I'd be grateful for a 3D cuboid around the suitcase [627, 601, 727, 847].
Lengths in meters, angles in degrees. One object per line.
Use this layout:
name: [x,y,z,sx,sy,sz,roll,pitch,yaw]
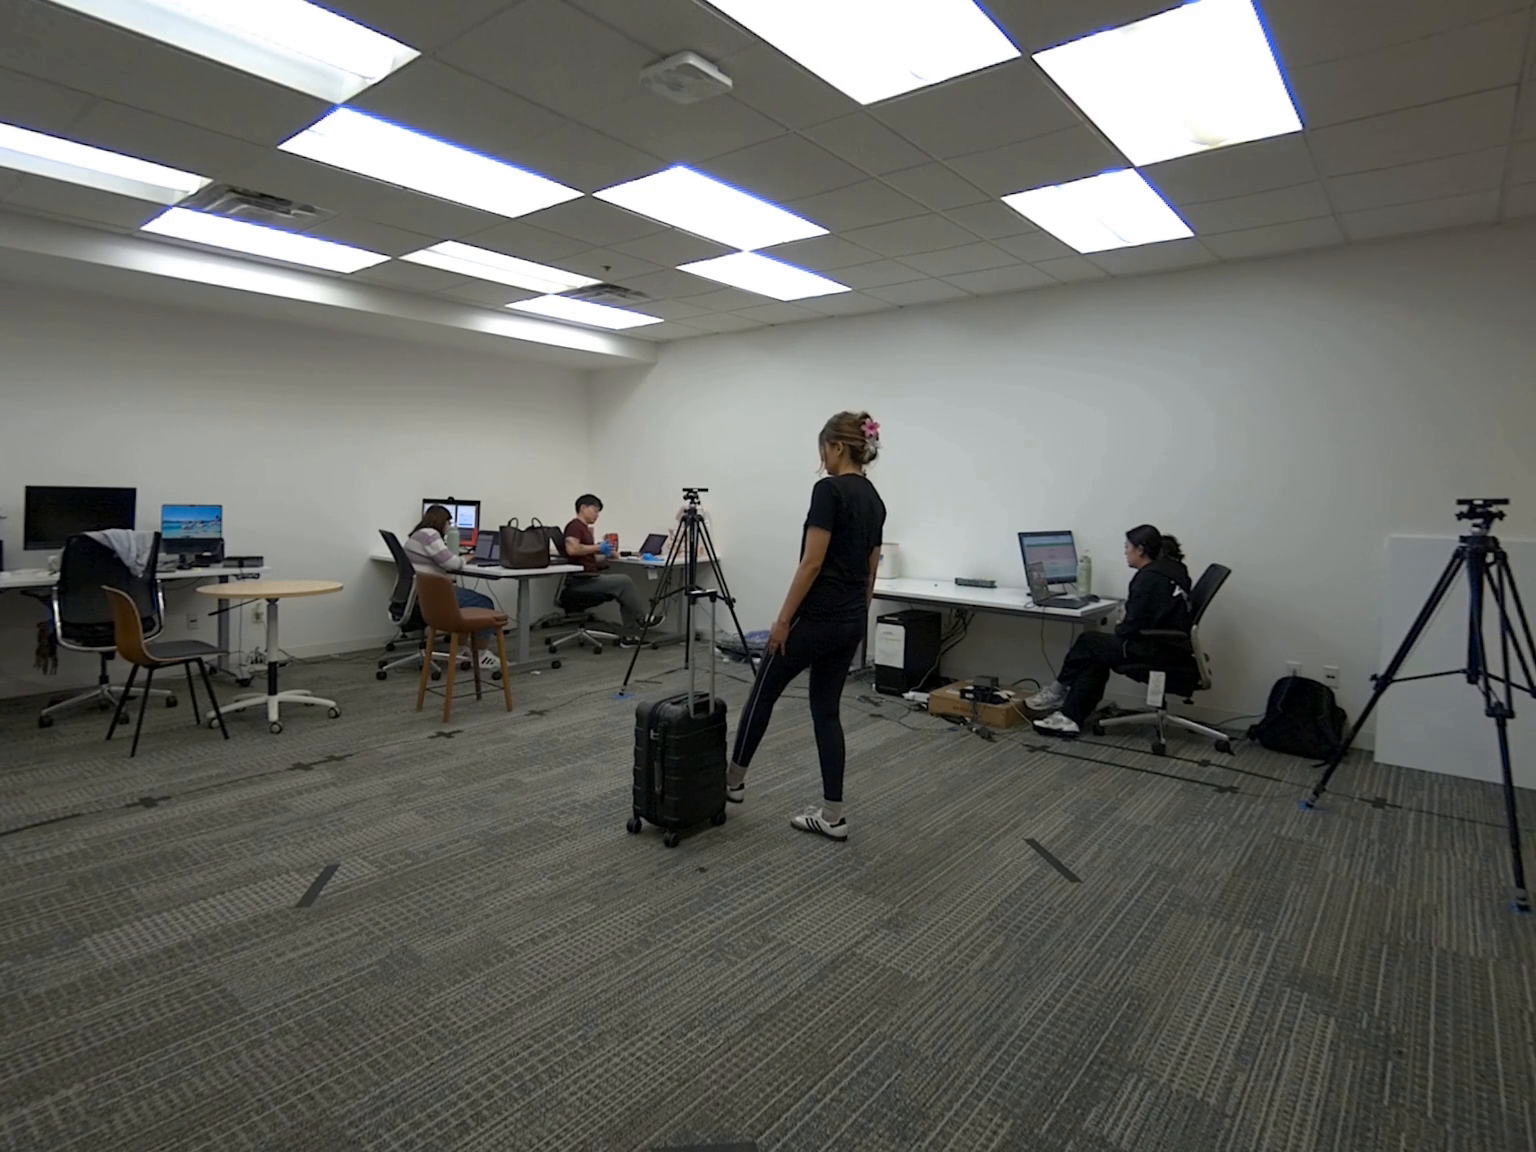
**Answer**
suitcase: [-0.373,0.555,3.483,0.265,0.978,0.372,0,1,39]
